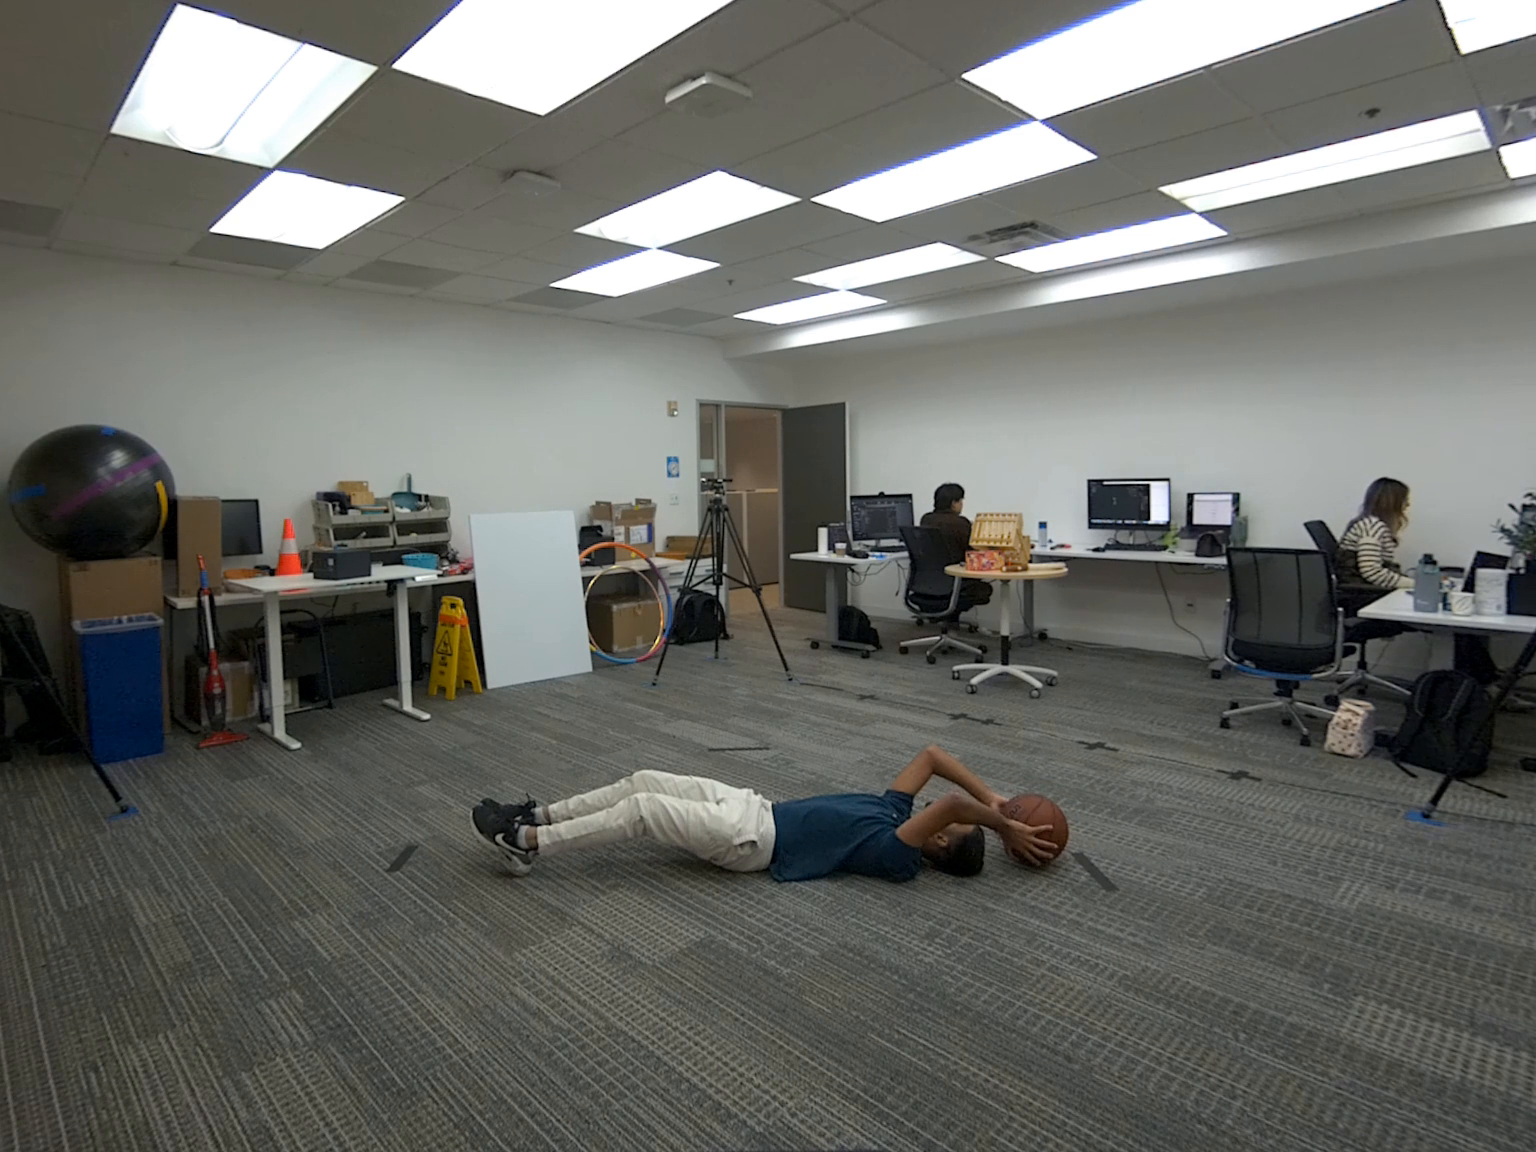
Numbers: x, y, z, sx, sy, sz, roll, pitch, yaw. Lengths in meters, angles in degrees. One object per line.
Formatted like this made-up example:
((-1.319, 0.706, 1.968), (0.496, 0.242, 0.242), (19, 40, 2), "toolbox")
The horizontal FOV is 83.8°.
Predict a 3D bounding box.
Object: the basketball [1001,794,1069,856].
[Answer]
((0.970, 0.913, 3.087), (0.236, 0.235, 0.237), (-1, 5, -2), "basketball")
